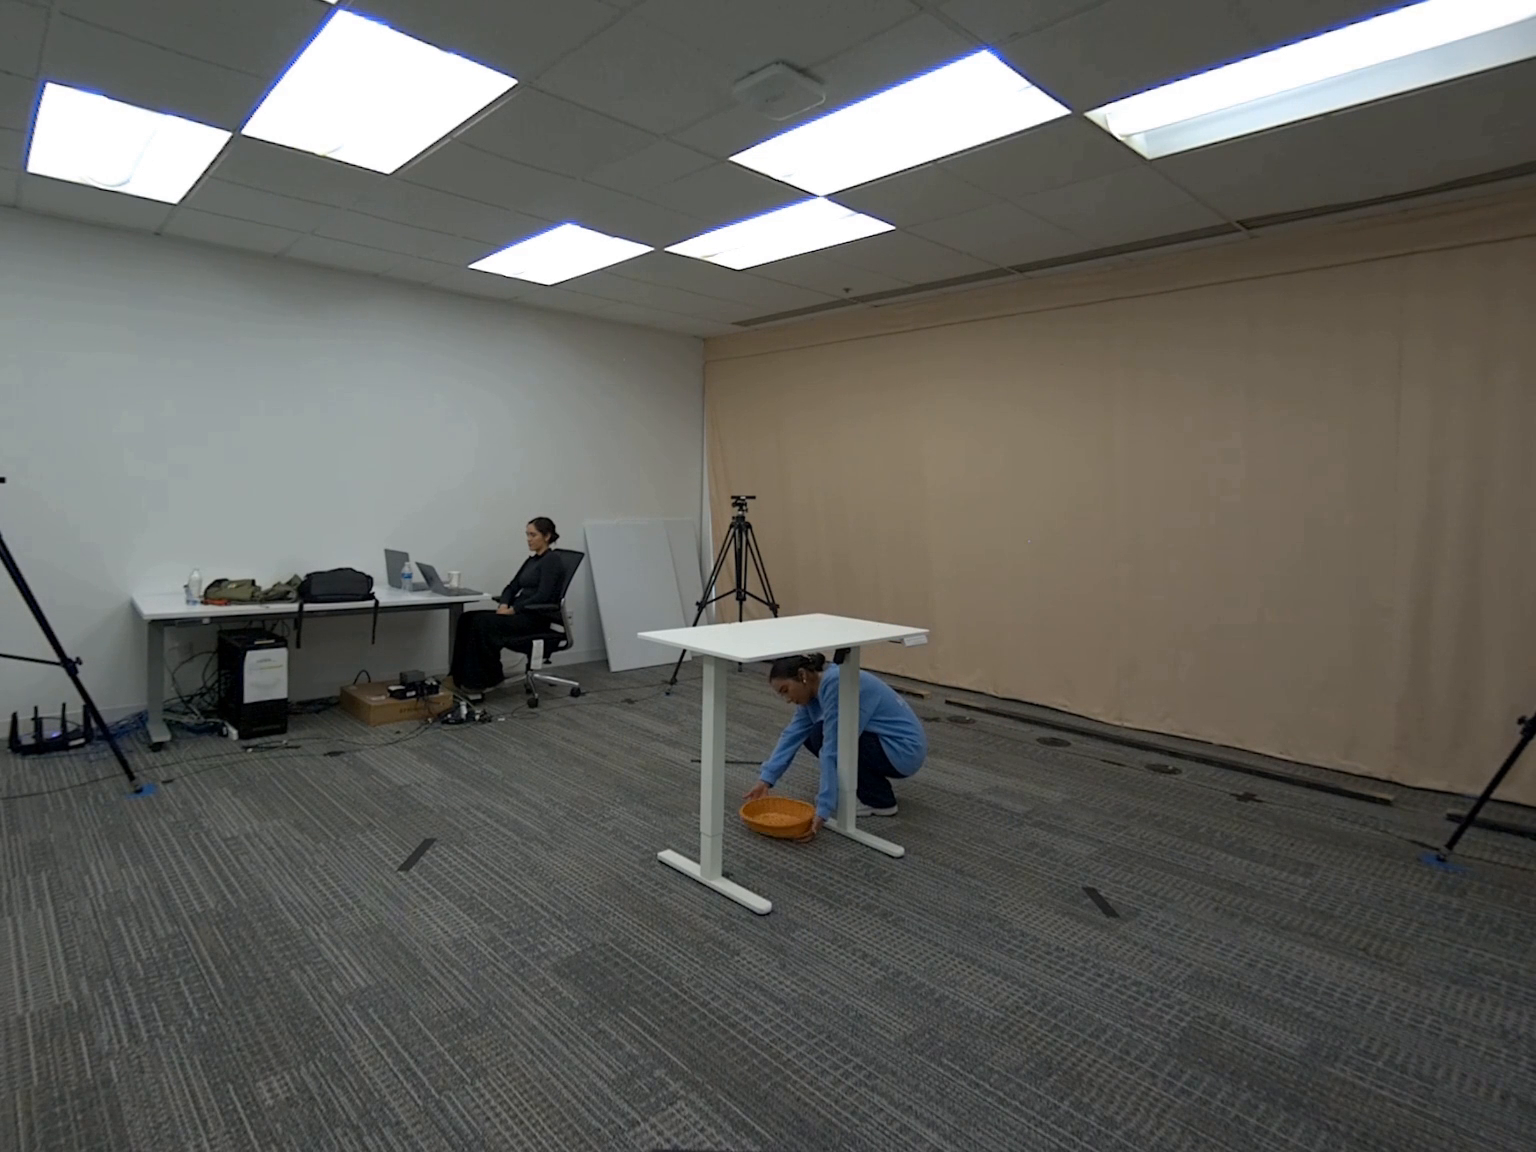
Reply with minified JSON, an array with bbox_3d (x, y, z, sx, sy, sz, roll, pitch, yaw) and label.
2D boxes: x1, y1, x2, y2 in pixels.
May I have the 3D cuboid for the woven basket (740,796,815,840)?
[{"bbox_3d":[0.031,1.000,3.508,0.359,0.073,0.248,3,11,42],"label":"woven basket"}]
